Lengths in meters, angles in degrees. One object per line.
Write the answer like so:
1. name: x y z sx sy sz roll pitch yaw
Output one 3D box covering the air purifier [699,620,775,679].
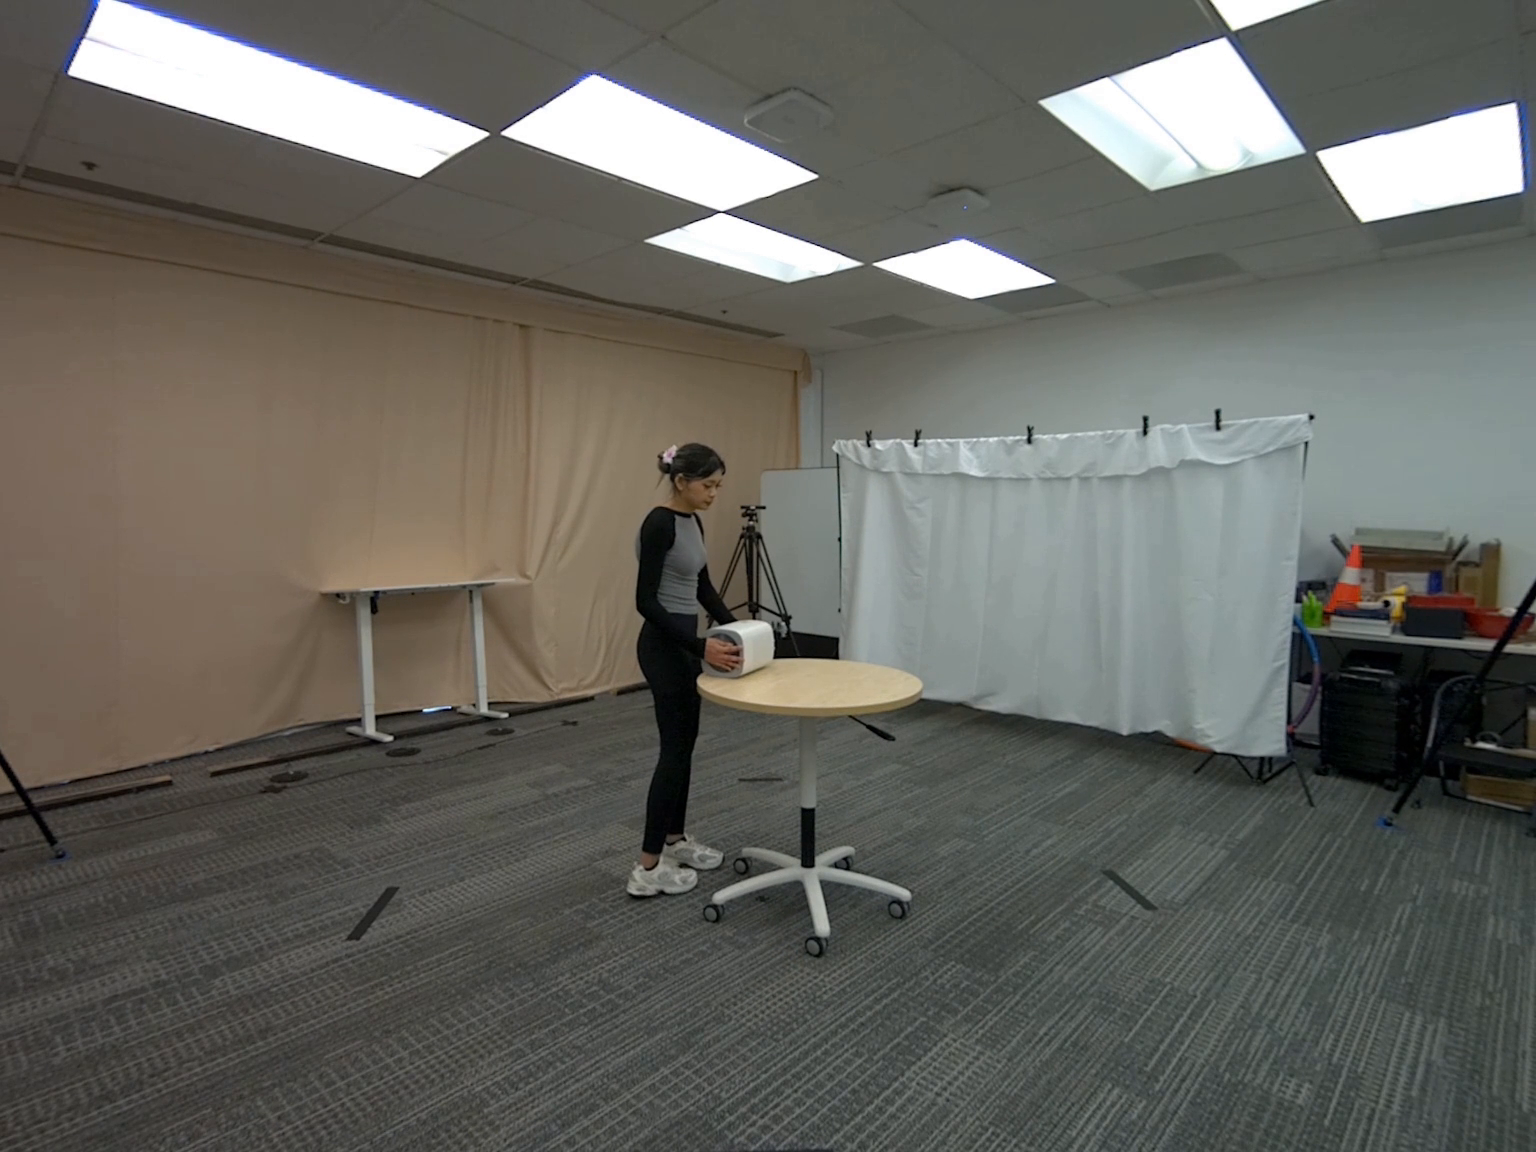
1. air purifier: -0.095 0.258 3.033 0.175 0.171 0.259 0 4 27
